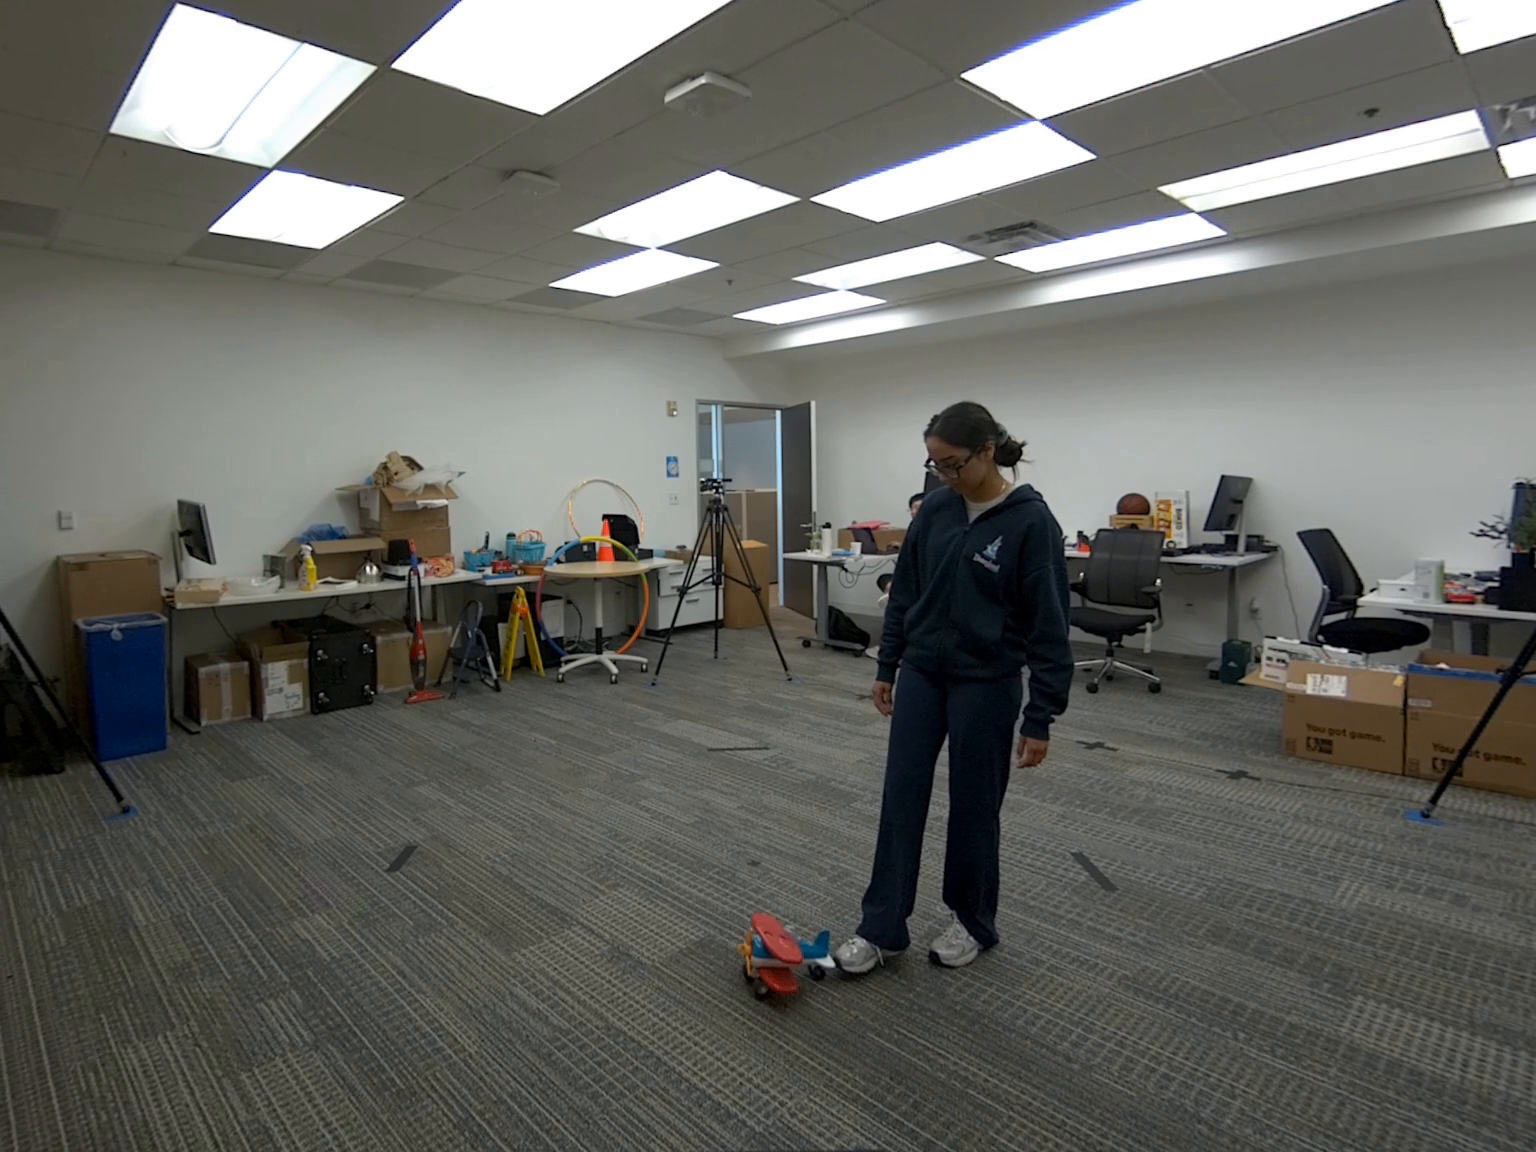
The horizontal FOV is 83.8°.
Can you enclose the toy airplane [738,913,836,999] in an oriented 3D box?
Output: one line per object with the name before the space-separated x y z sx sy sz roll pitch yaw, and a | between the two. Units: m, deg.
toy airplane | 0.046 1.054 2.379 0.259 0.155 0.253 5 9 43
